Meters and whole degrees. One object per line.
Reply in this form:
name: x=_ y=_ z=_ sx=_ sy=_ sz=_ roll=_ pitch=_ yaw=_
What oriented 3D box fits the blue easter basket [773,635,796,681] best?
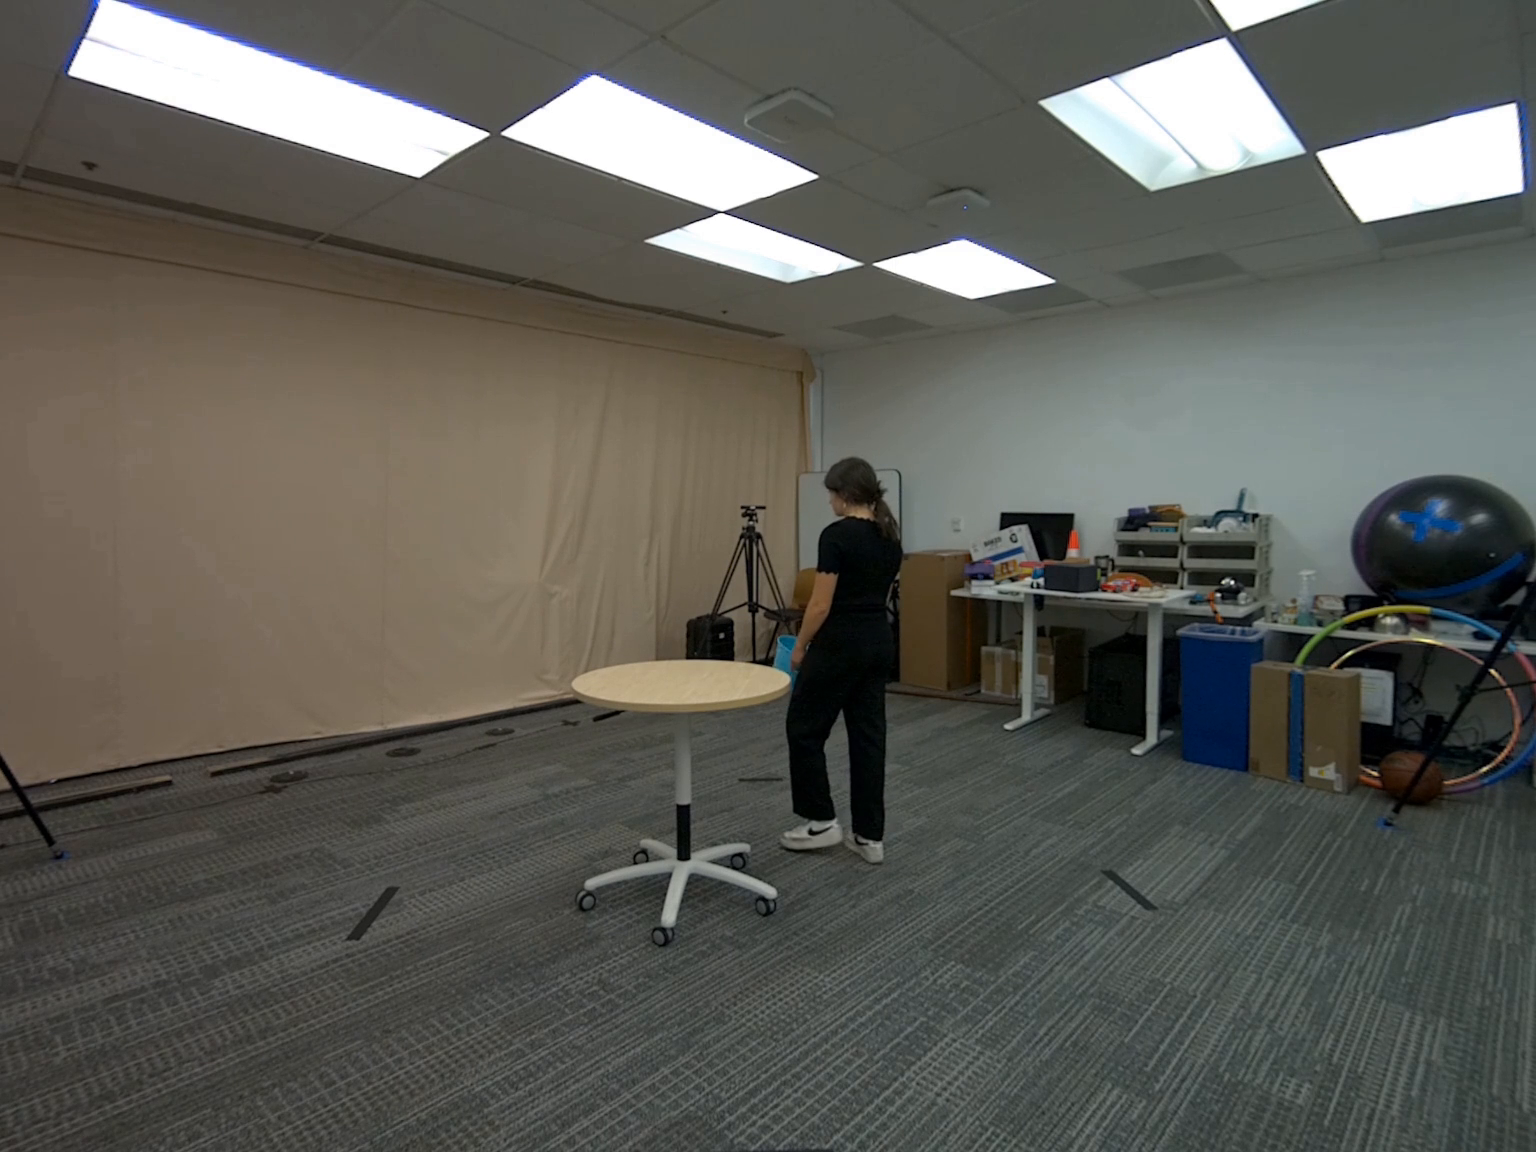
blue easter basket: x=0.158 y=0.378 z=3.584 sx=0.242 sy=0.155 sz=0.246 roll=16 pitch=12 yaw=-5
